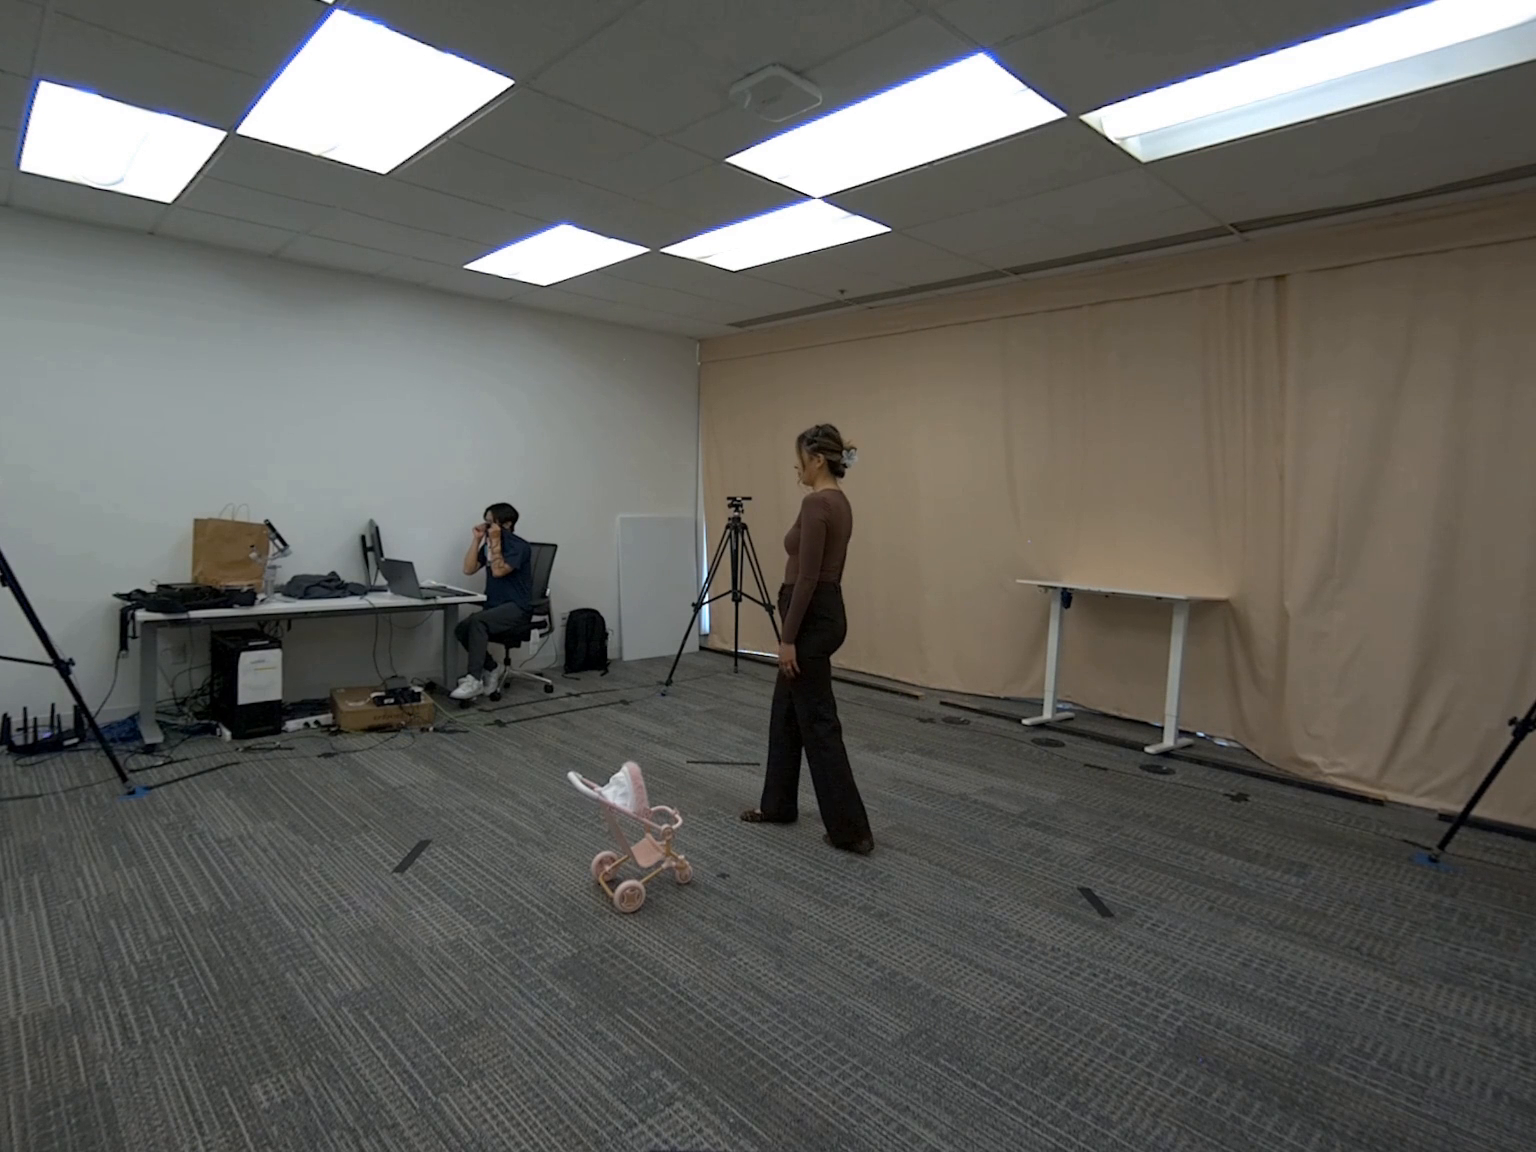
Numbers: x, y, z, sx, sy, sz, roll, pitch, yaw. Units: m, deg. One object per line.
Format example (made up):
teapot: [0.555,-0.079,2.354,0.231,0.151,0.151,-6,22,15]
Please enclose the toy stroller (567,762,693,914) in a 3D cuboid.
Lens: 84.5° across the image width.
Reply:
toy stroller: [-0.470,0.886,2.937,0.337,0.530,0.287,-17,11,-23]
